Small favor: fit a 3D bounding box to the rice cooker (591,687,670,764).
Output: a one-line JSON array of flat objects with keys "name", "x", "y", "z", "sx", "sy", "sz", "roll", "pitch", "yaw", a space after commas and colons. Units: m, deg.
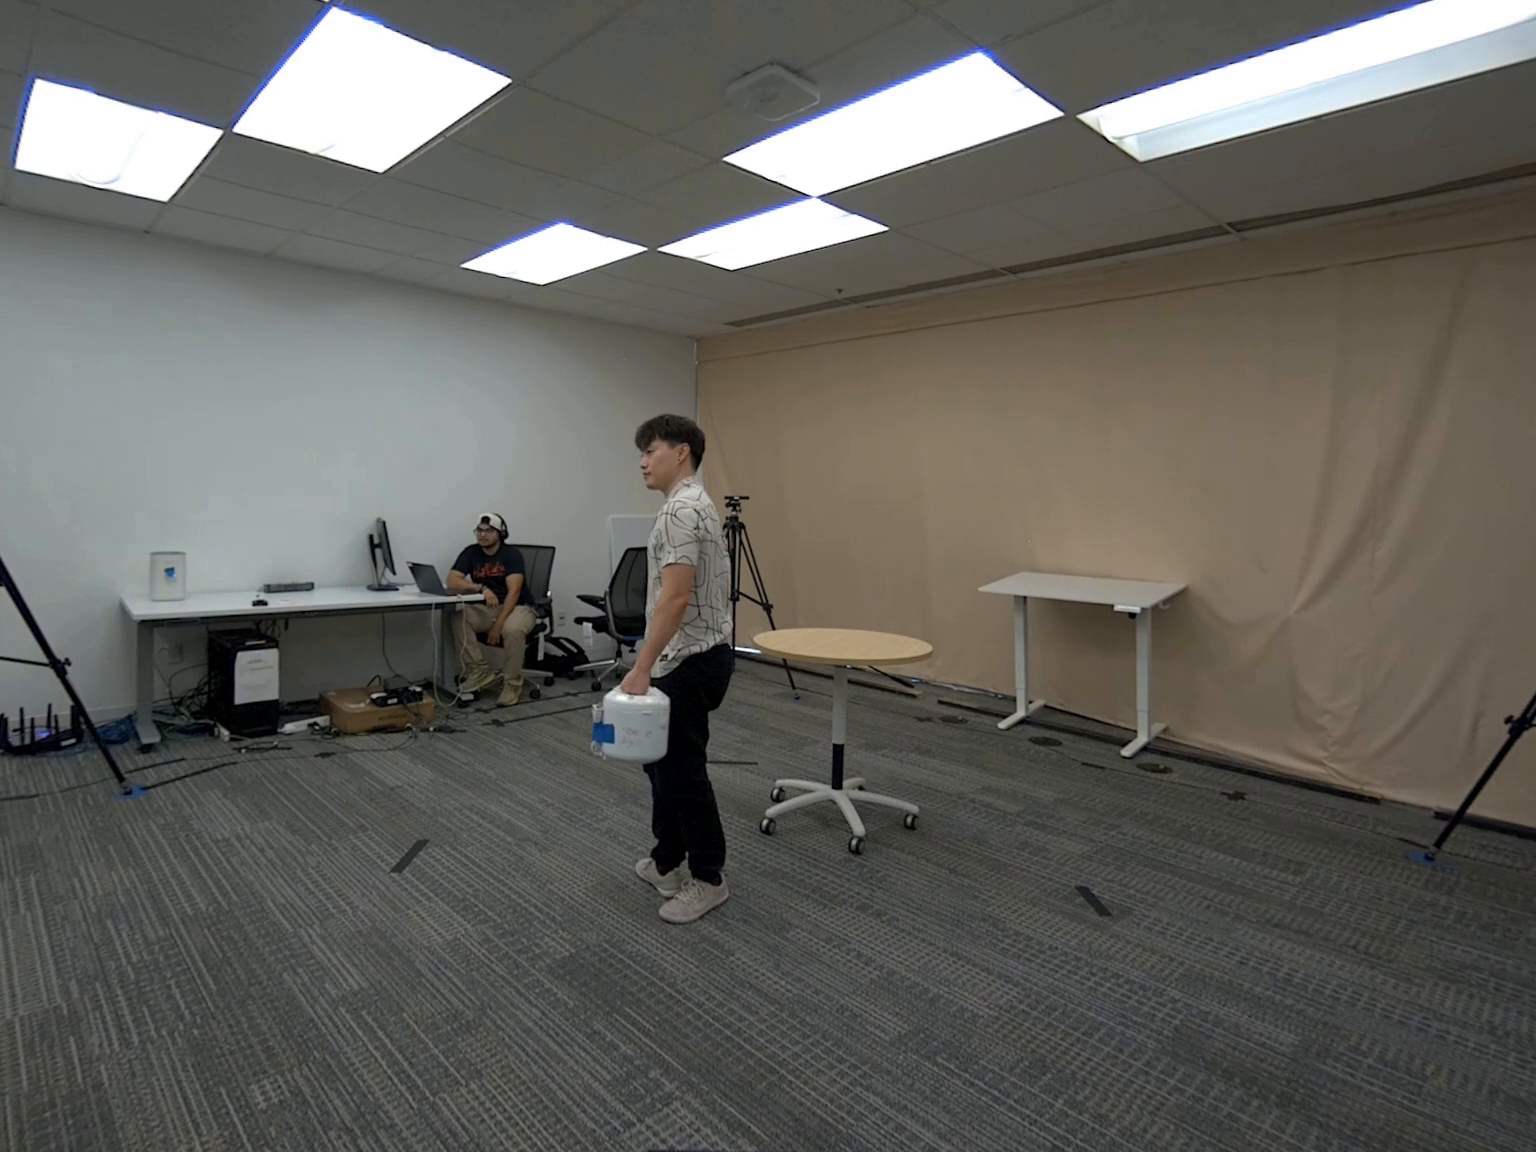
[{"name": "rice cooker", "x": -0.417, "y": 0.449, "z": 2.610, "sx": 0.225, "sy": 0.233, "sz": 0.213, "roll": 5, "pitch": 1, "yaw": 26}]
